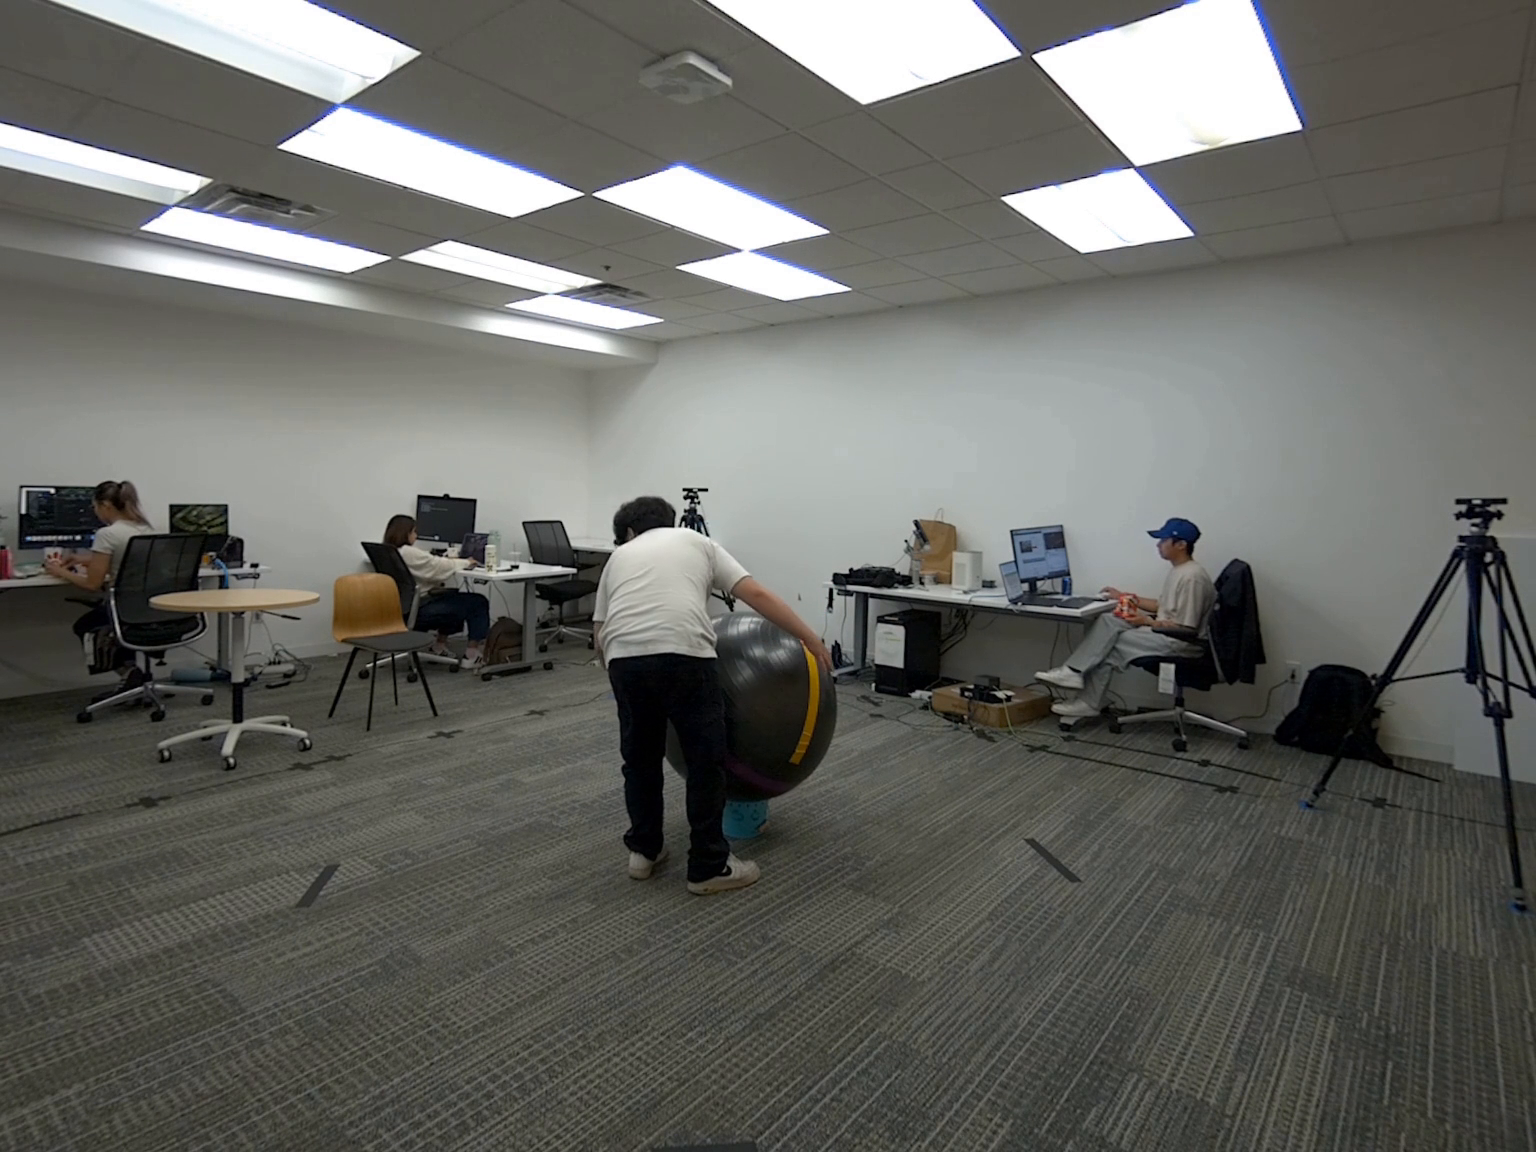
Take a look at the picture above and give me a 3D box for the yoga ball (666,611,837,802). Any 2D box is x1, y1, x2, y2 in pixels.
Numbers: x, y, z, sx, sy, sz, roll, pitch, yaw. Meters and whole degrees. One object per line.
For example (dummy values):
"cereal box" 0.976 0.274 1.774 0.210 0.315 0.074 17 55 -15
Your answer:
"yoga ball" -0.096 0.527 3.476 0.757 0.755 0.762 1 4 -2
